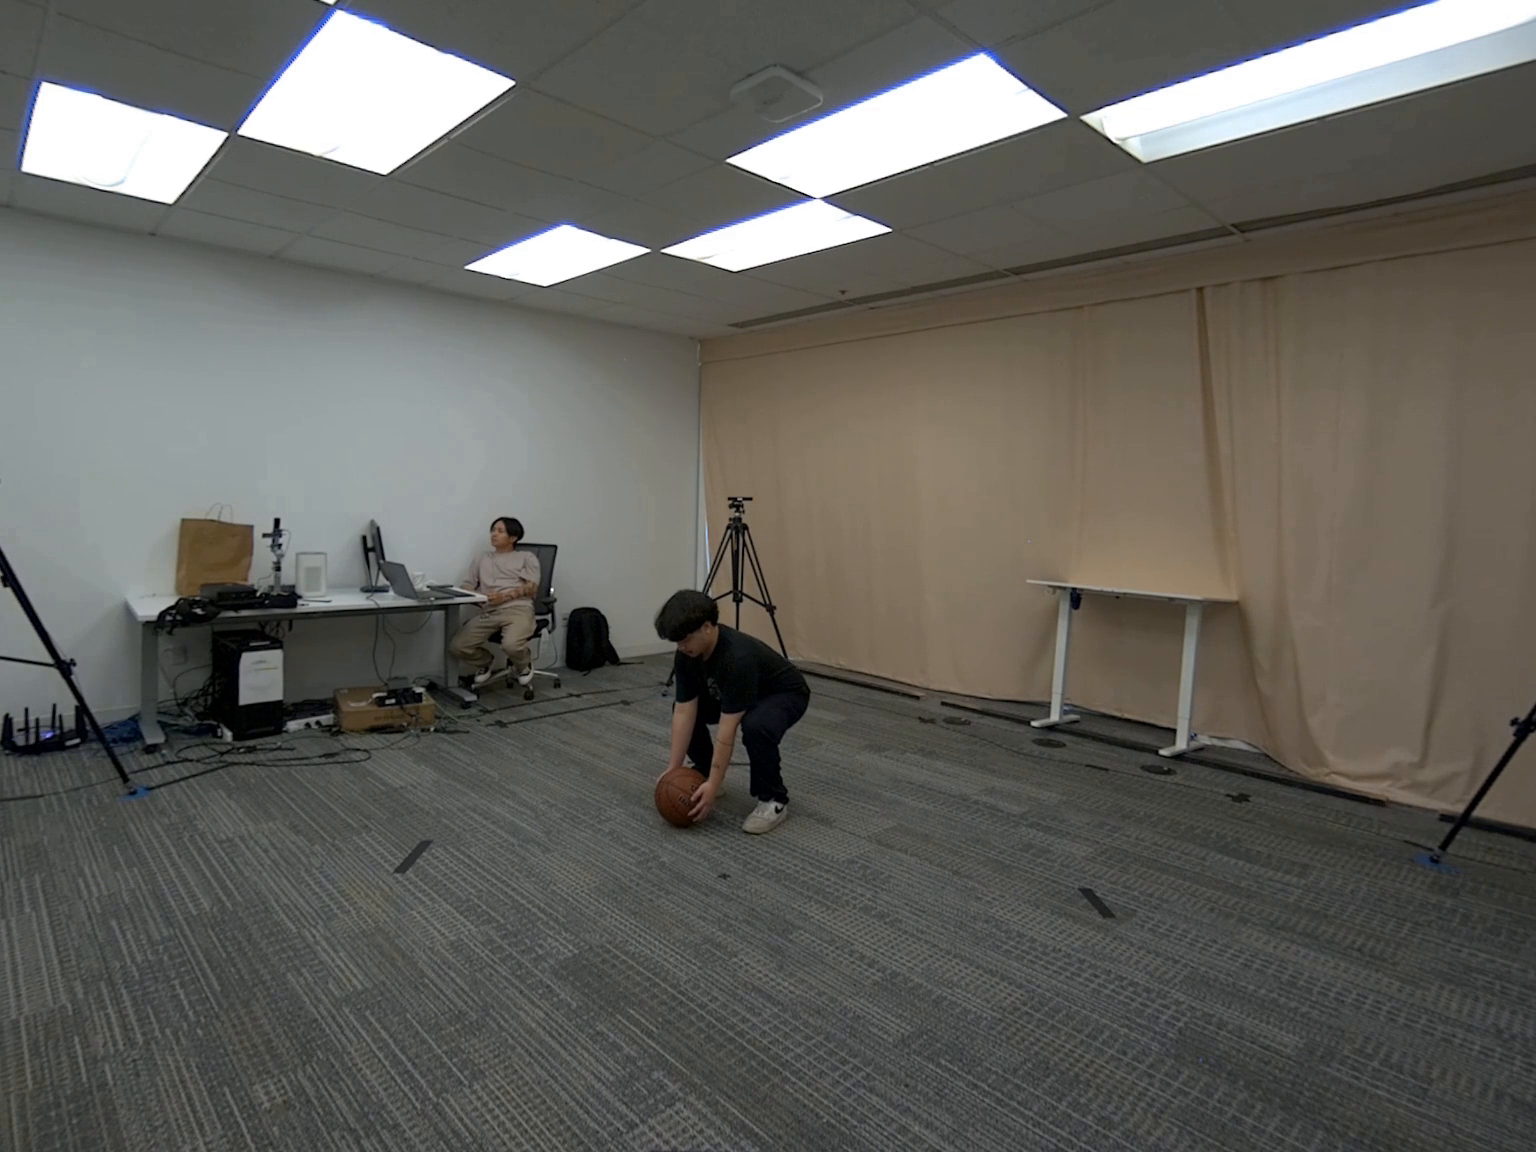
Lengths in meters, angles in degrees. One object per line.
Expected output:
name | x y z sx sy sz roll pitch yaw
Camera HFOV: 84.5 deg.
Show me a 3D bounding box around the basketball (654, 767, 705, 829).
basketball | -0.379 0.928 3.582 0.236 0.235 0.237 1 4 -1
